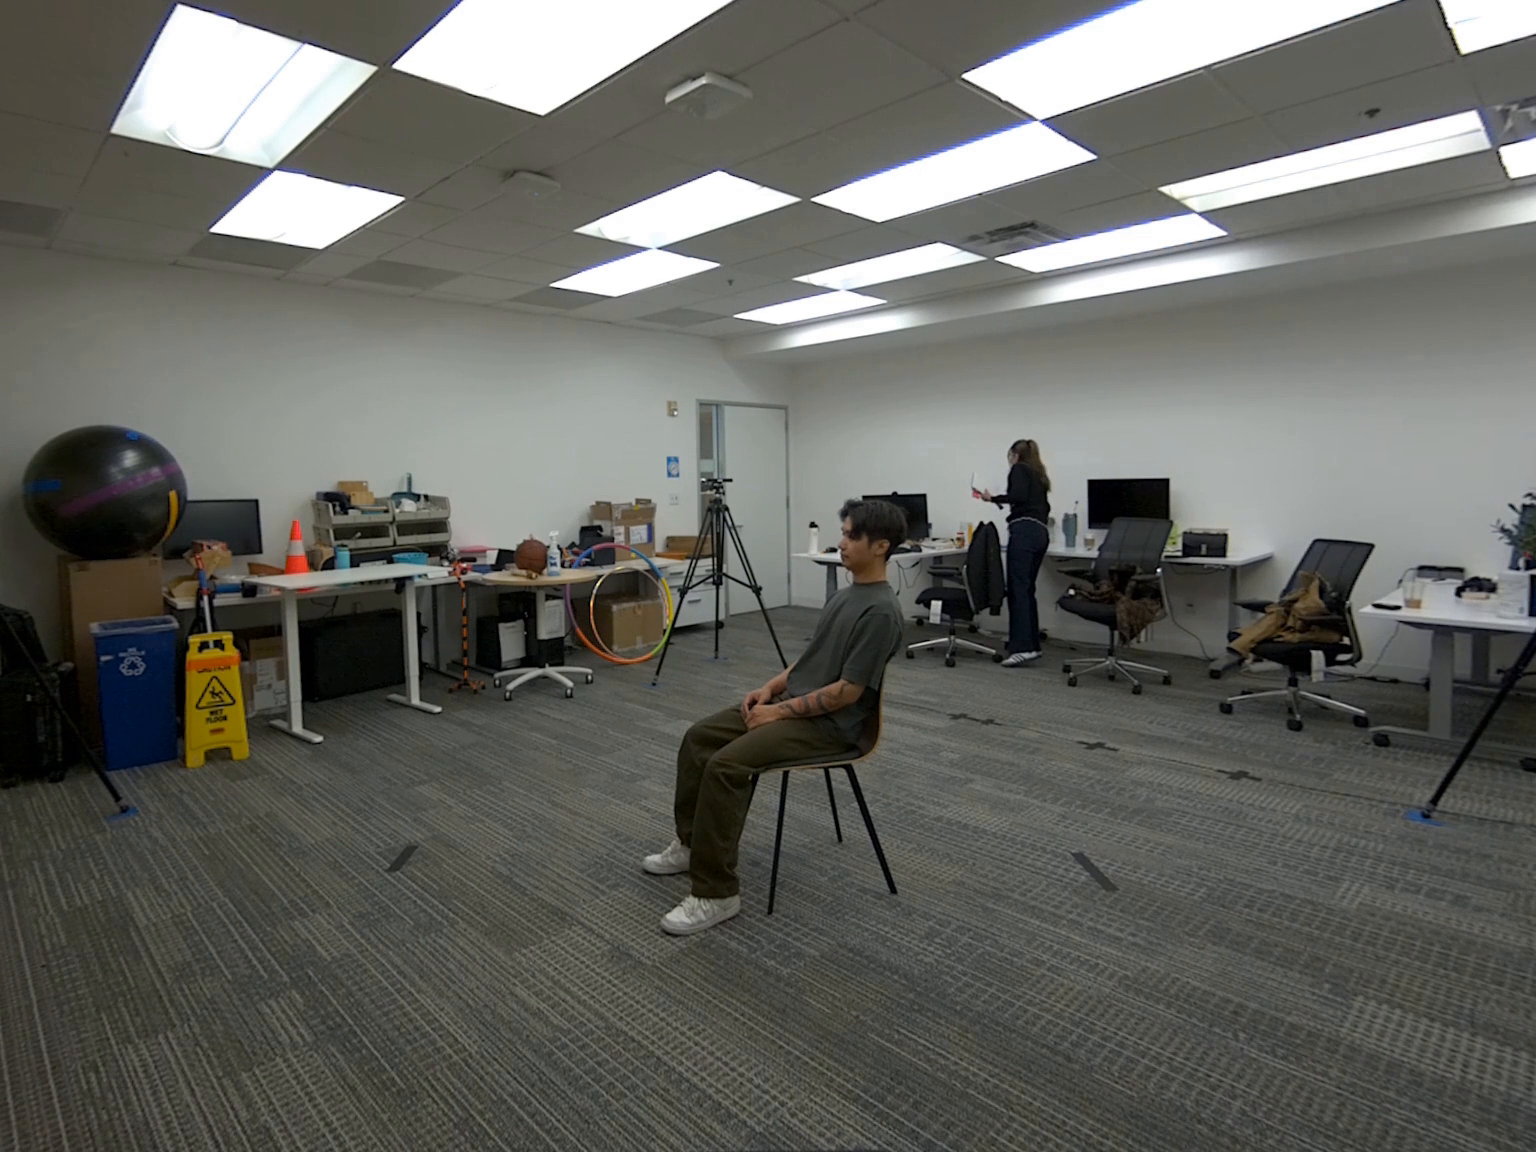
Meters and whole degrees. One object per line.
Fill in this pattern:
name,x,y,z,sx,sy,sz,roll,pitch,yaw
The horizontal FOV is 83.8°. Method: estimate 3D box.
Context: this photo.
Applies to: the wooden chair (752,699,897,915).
wooden chair,0.136,0.623,2.979,0.514,0.875,0.488,2,4,-18
